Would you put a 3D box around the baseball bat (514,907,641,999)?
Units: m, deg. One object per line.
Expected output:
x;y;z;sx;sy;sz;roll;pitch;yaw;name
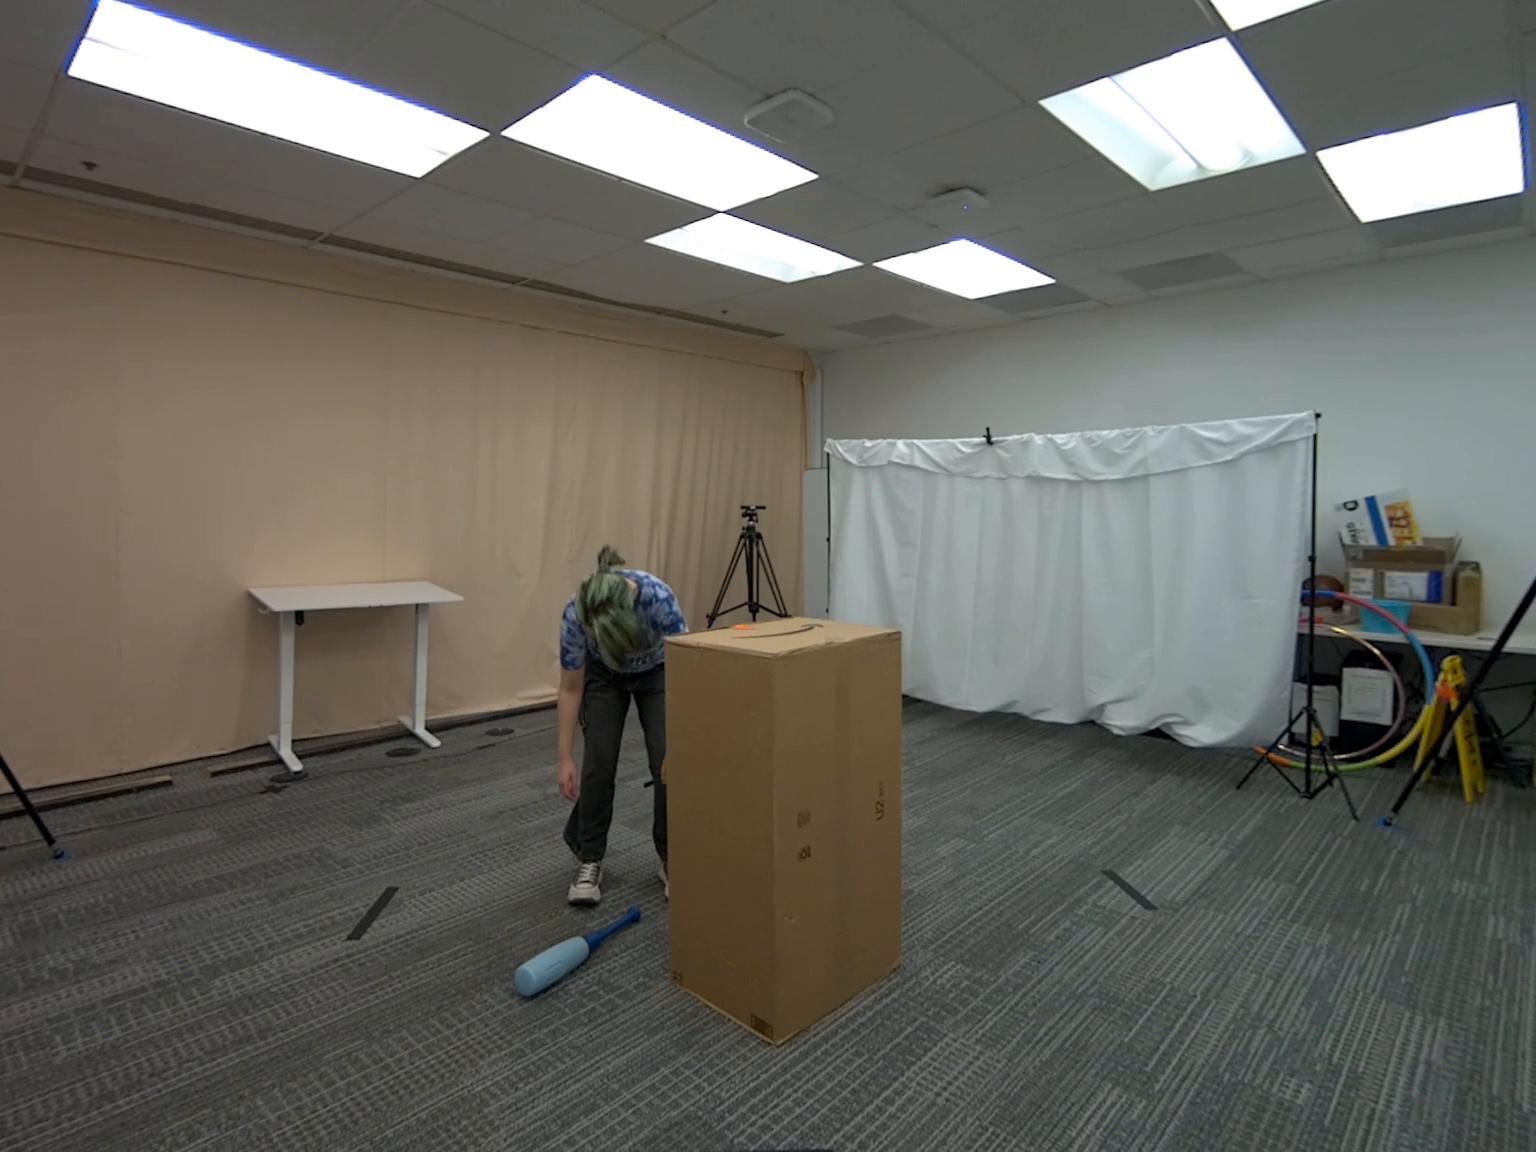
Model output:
-0.567;1.161;2.586;0.091;0.089;0.528;2;1;28;baseball bat
